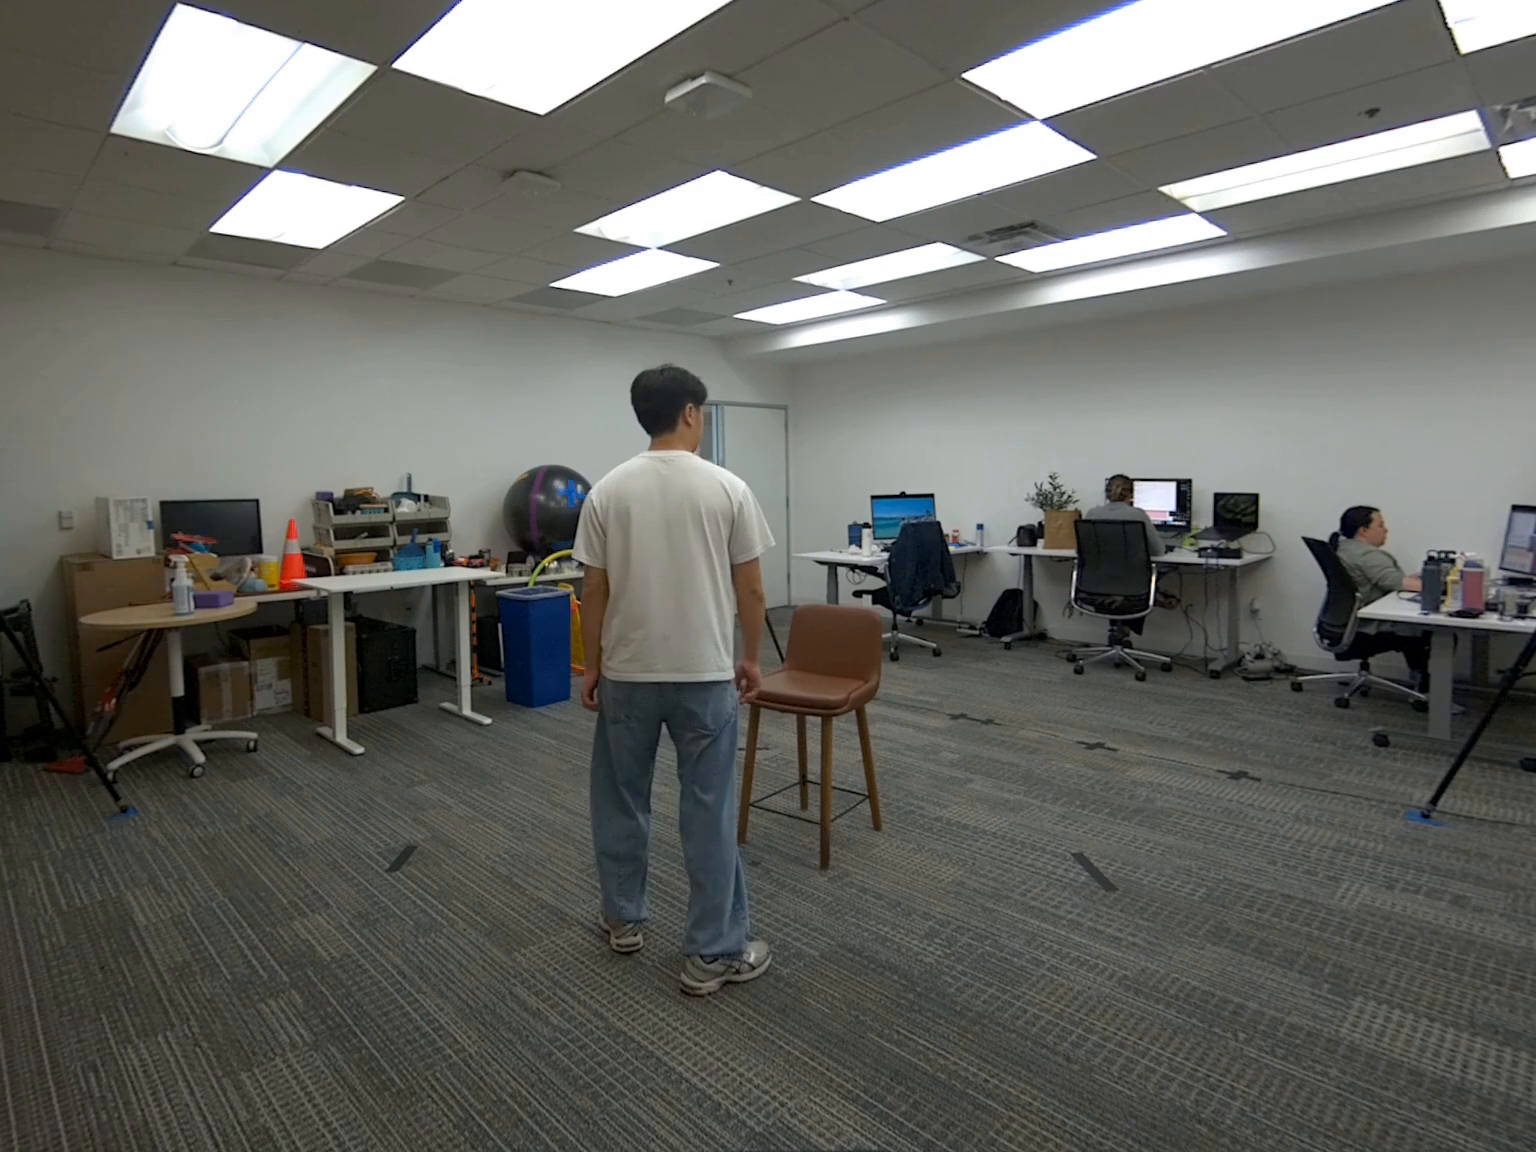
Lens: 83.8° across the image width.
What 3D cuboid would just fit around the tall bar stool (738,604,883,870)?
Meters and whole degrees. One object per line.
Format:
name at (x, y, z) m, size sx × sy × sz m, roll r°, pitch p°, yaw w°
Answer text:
tall bar stool at (0.175, 0.580, 3.315) m, size 0.470 × 0.888 × 0.455 m, roll 2°, pitch 3°, yaw 37°
